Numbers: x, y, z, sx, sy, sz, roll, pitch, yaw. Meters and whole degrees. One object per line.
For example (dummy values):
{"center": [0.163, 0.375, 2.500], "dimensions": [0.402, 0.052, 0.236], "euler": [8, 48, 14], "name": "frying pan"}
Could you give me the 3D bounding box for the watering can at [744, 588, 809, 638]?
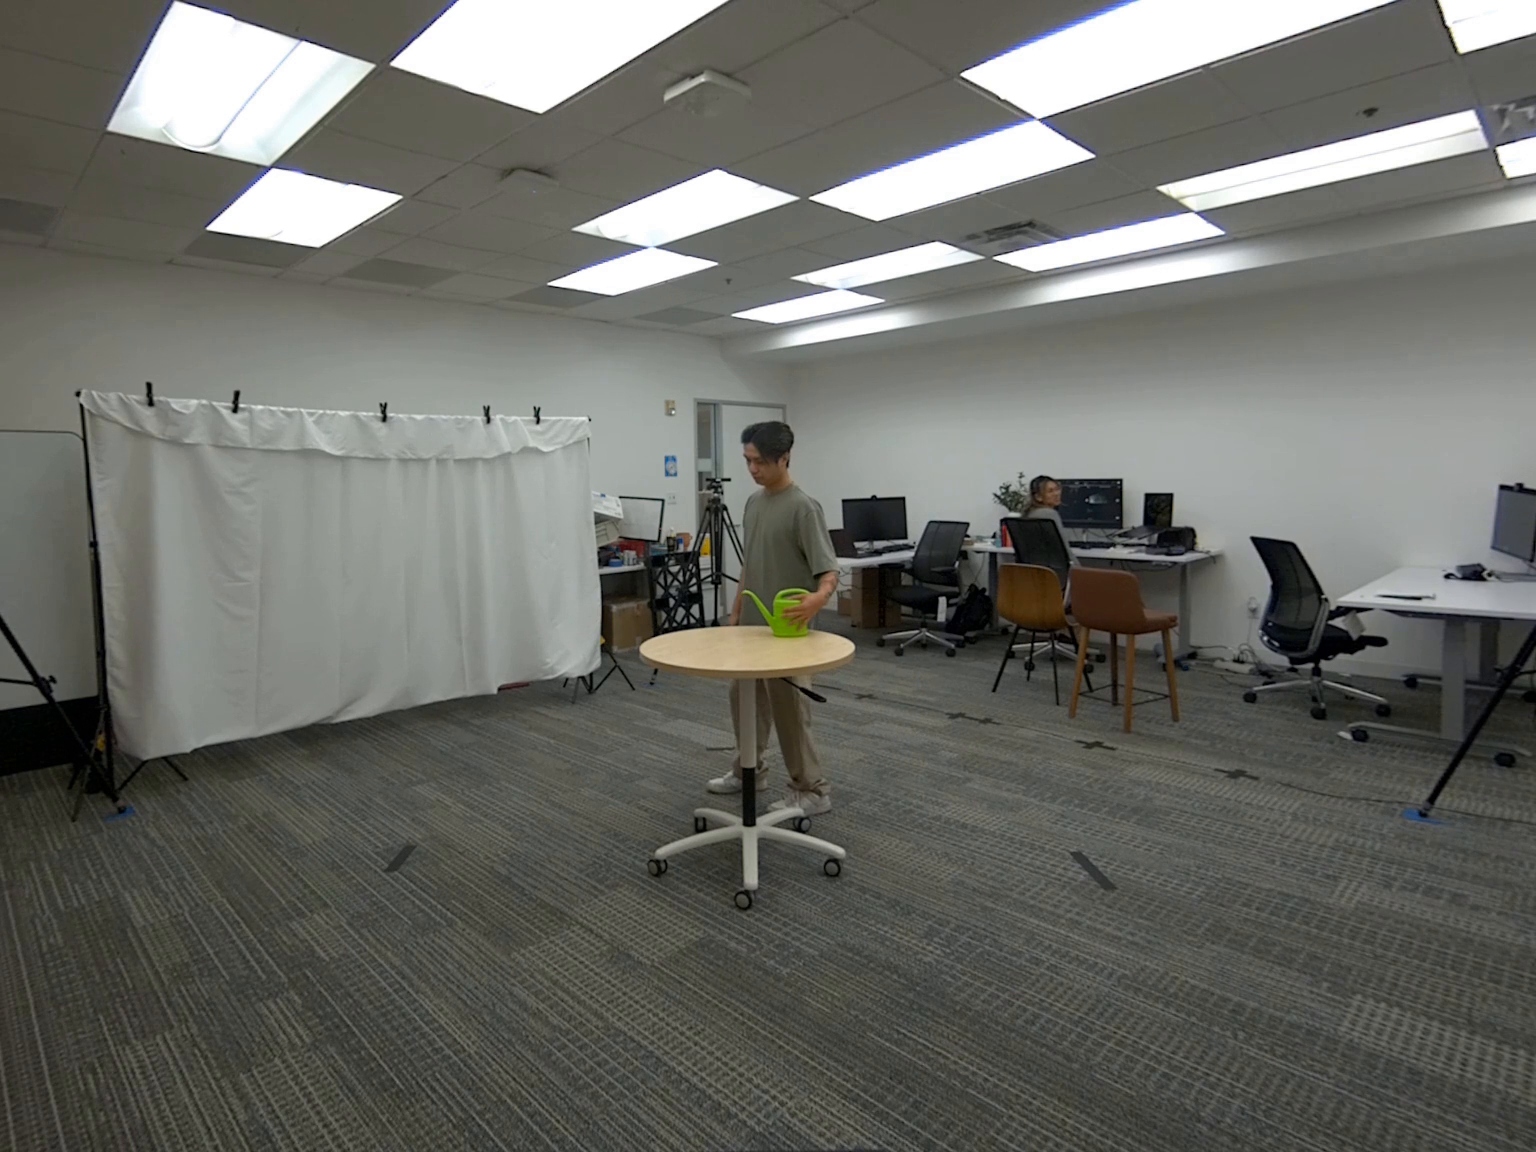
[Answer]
{"center": [0.037, 0.145, 3.238], "dimensions": [0.277, 0.176, 0.099], "euler": [0, 4, -4], "name": "watering can"}
